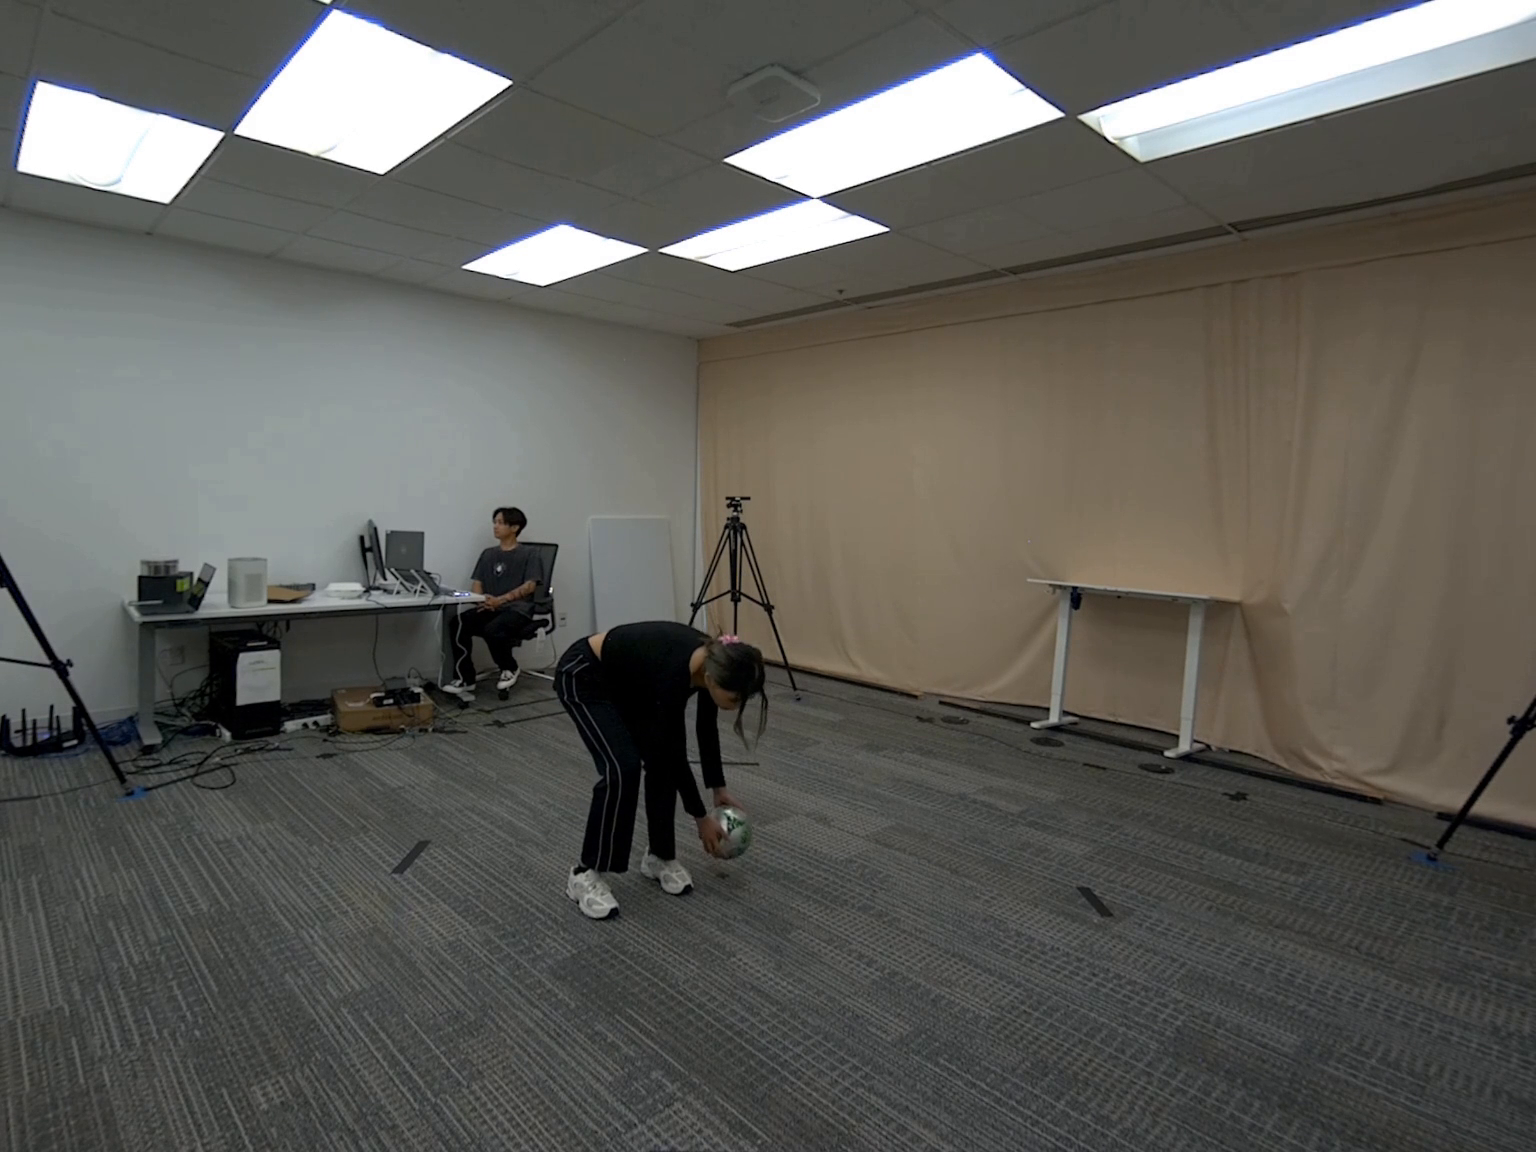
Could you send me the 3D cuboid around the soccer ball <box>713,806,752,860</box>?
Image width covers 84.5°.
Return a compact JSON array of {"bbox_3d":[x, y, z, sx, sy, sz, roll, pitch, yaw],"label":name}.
[{"bbox_3d":[-0.160,0.924,3.063,0.187,0.187,0.188,1,4,-1],"label":"soccer ball"}]
